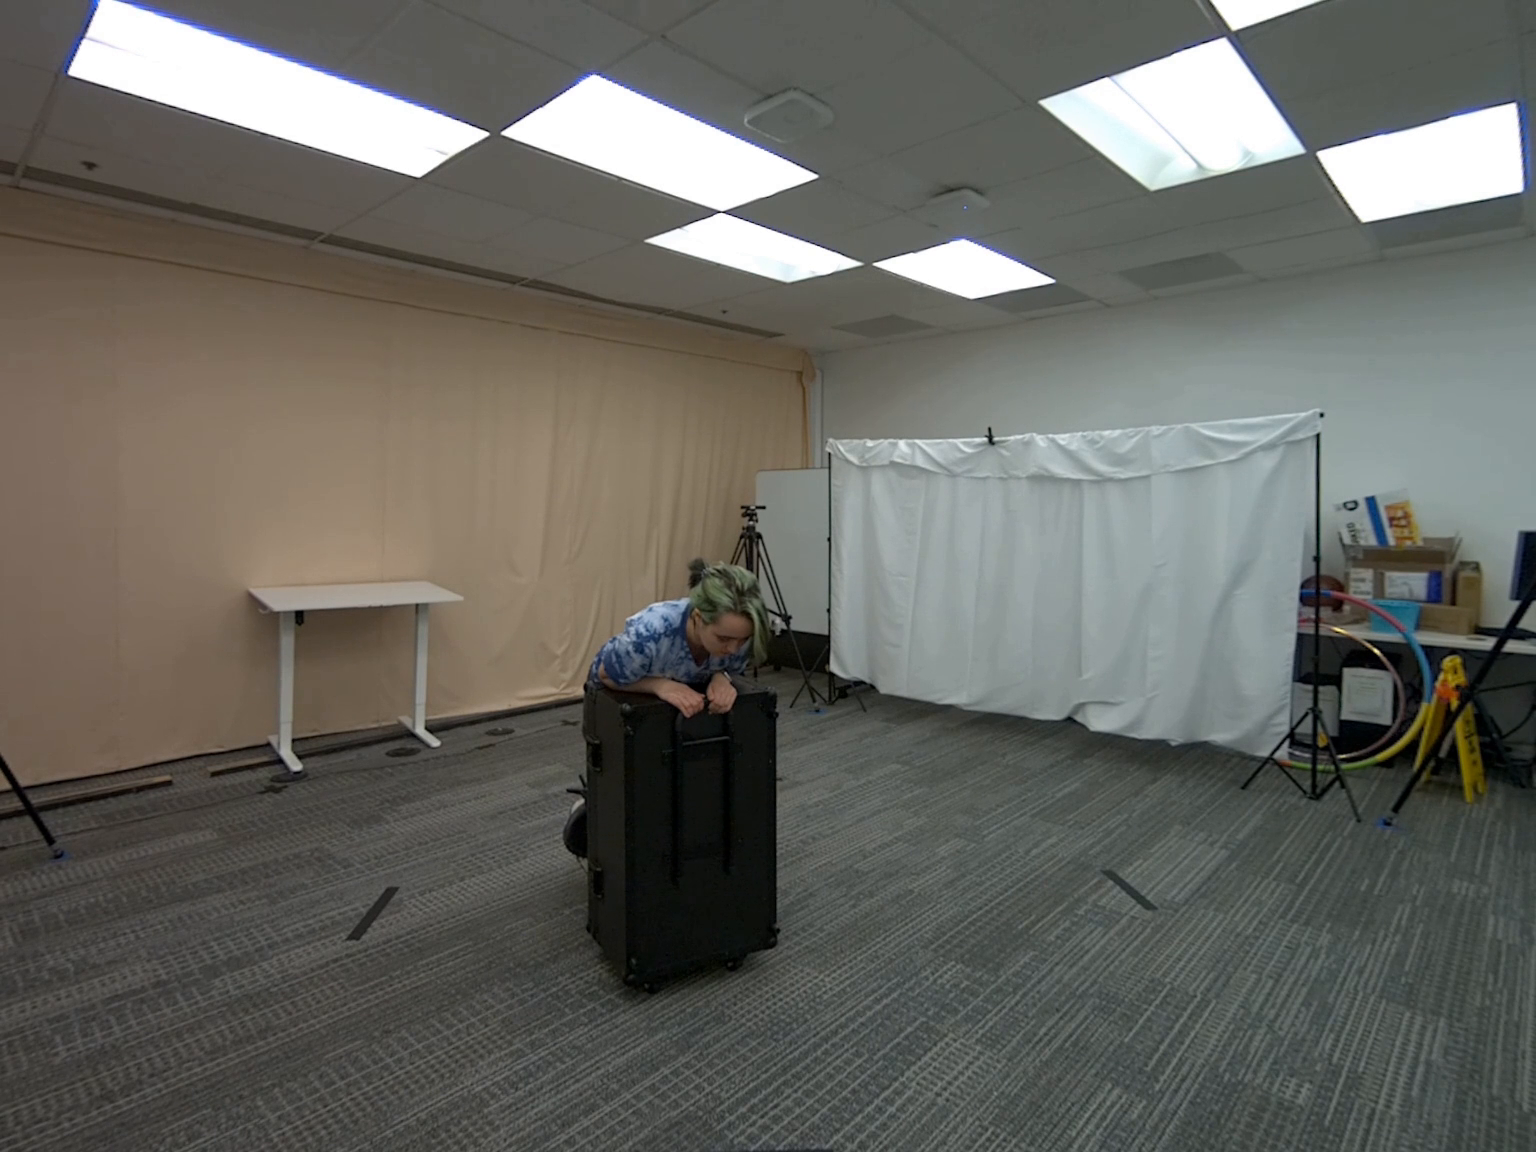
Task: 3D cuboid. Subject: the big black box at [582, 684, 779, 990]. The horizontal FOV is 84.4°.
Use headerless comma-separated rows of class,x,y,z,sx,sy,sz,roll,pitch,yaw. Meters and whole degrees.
big black box,-0.257,0.707,2.539,0.508,0.859,0.407,-2,4,-28
